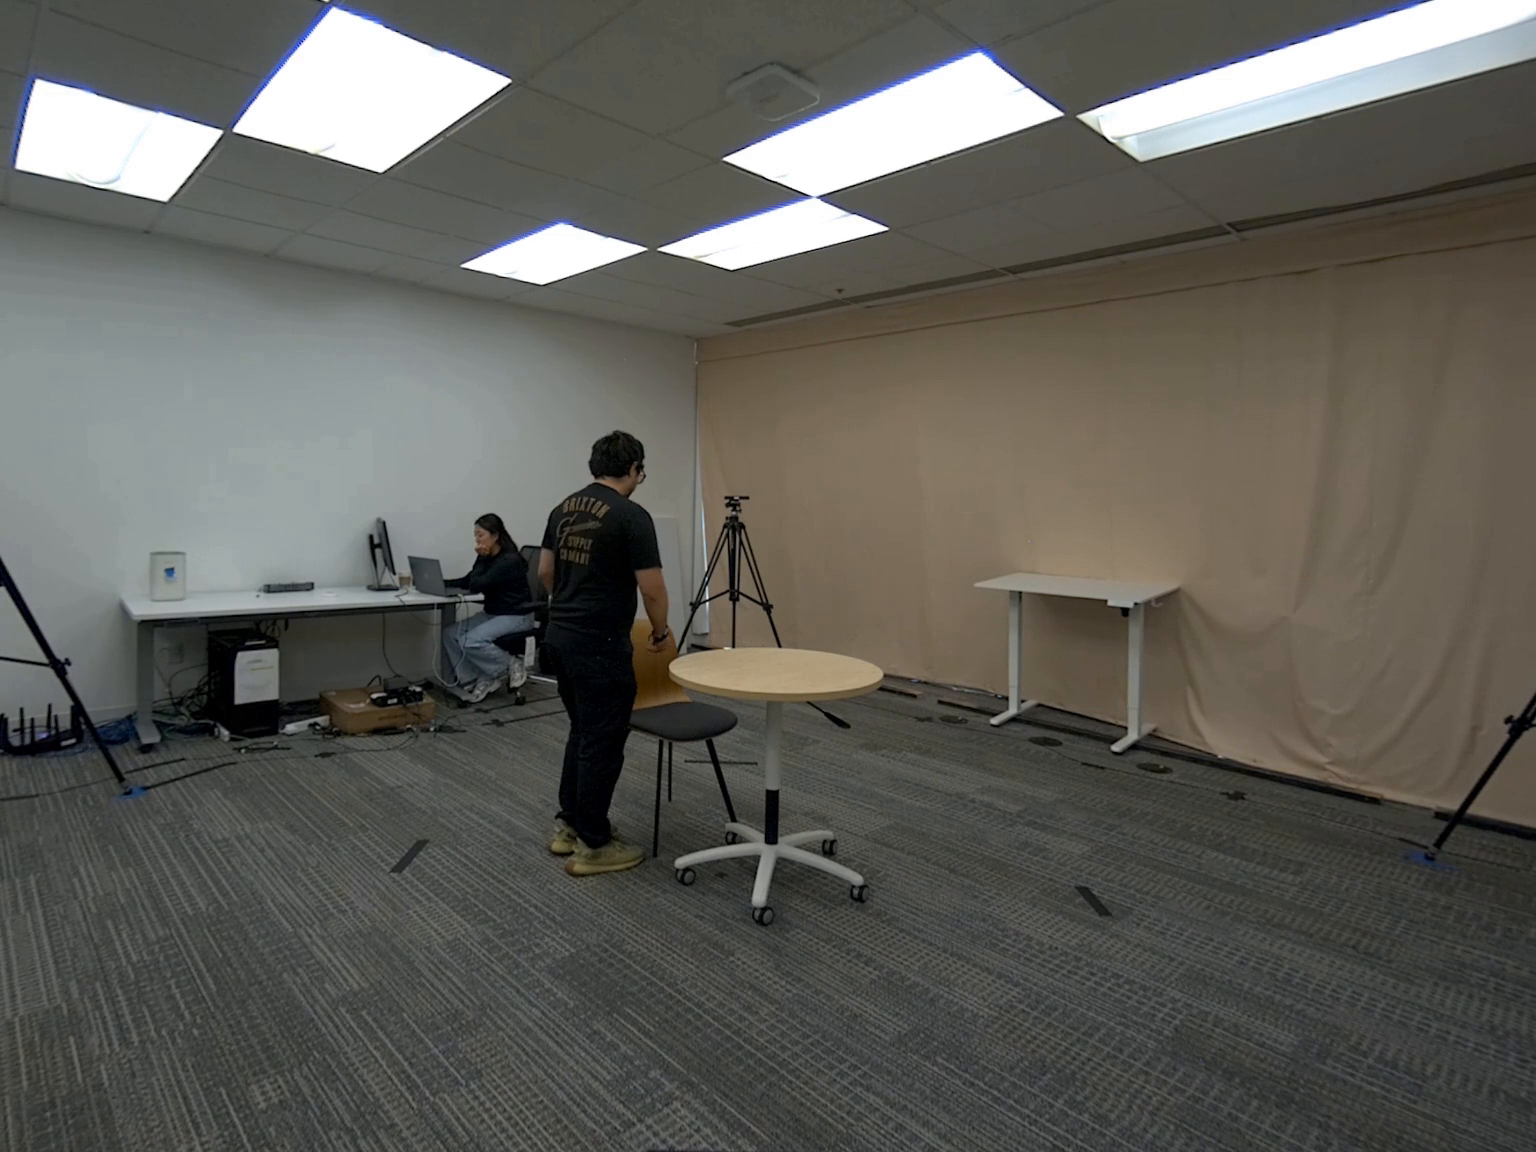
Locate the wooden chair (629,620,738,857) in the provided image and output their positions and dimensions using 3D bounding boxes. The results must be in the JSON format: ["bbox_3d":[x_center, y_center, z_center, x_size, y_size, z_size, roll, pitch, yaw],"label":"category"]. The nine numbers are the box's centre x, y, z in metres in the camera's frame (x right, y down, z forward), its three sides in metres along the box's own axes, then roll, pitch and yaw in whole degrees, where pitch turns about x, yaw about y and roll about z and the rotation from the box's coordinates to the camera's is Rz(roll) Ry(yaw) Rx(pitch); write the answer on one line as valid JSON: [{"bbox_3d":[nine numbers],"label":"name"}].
[{"bbox_3d":[-0.427,0.627,3.517,0.535,0.877,0.467,-1,0,45],"label":"wooden chair"}]
